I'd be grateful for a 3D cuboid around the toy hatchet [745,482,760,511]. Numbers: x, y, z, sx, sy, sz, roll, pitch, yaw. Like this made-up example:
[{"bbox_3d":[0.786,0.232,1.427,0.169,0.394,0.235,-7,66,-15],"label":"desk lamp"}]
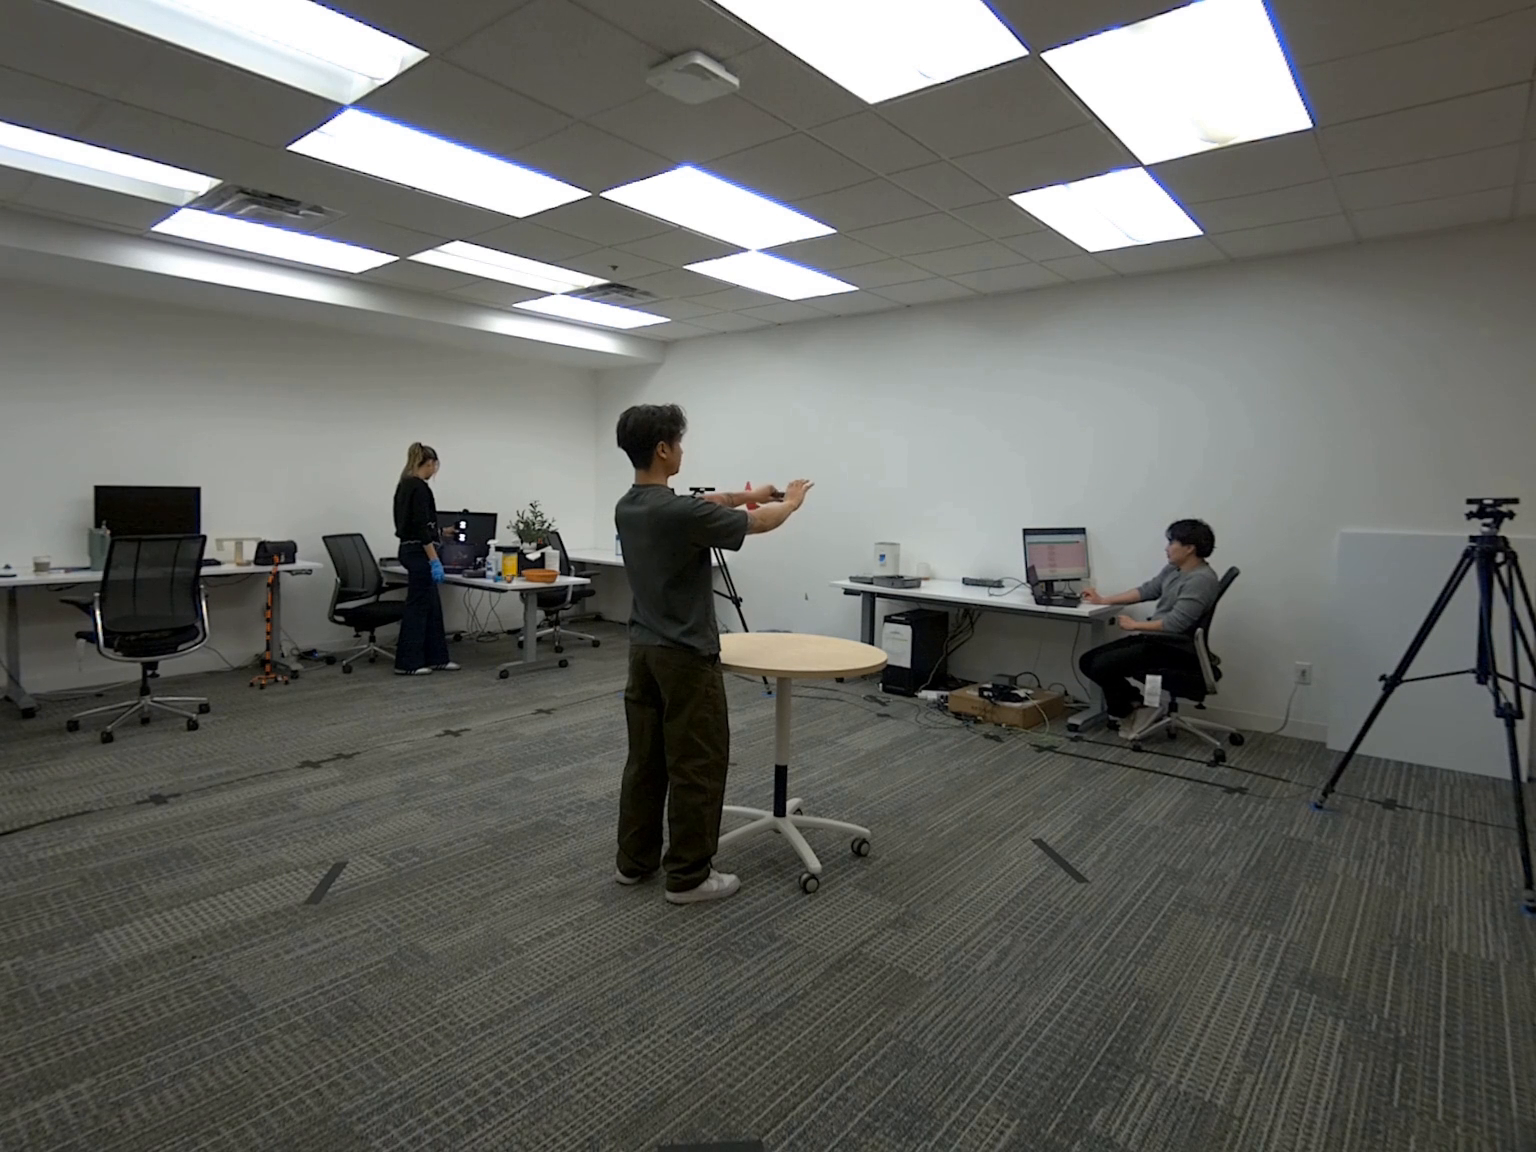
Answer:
[{"bbox_3d":[0.001,-0.283,3.318,0.280,0.130,0.029,19,15,36],"label":"toy hatchet"}]
